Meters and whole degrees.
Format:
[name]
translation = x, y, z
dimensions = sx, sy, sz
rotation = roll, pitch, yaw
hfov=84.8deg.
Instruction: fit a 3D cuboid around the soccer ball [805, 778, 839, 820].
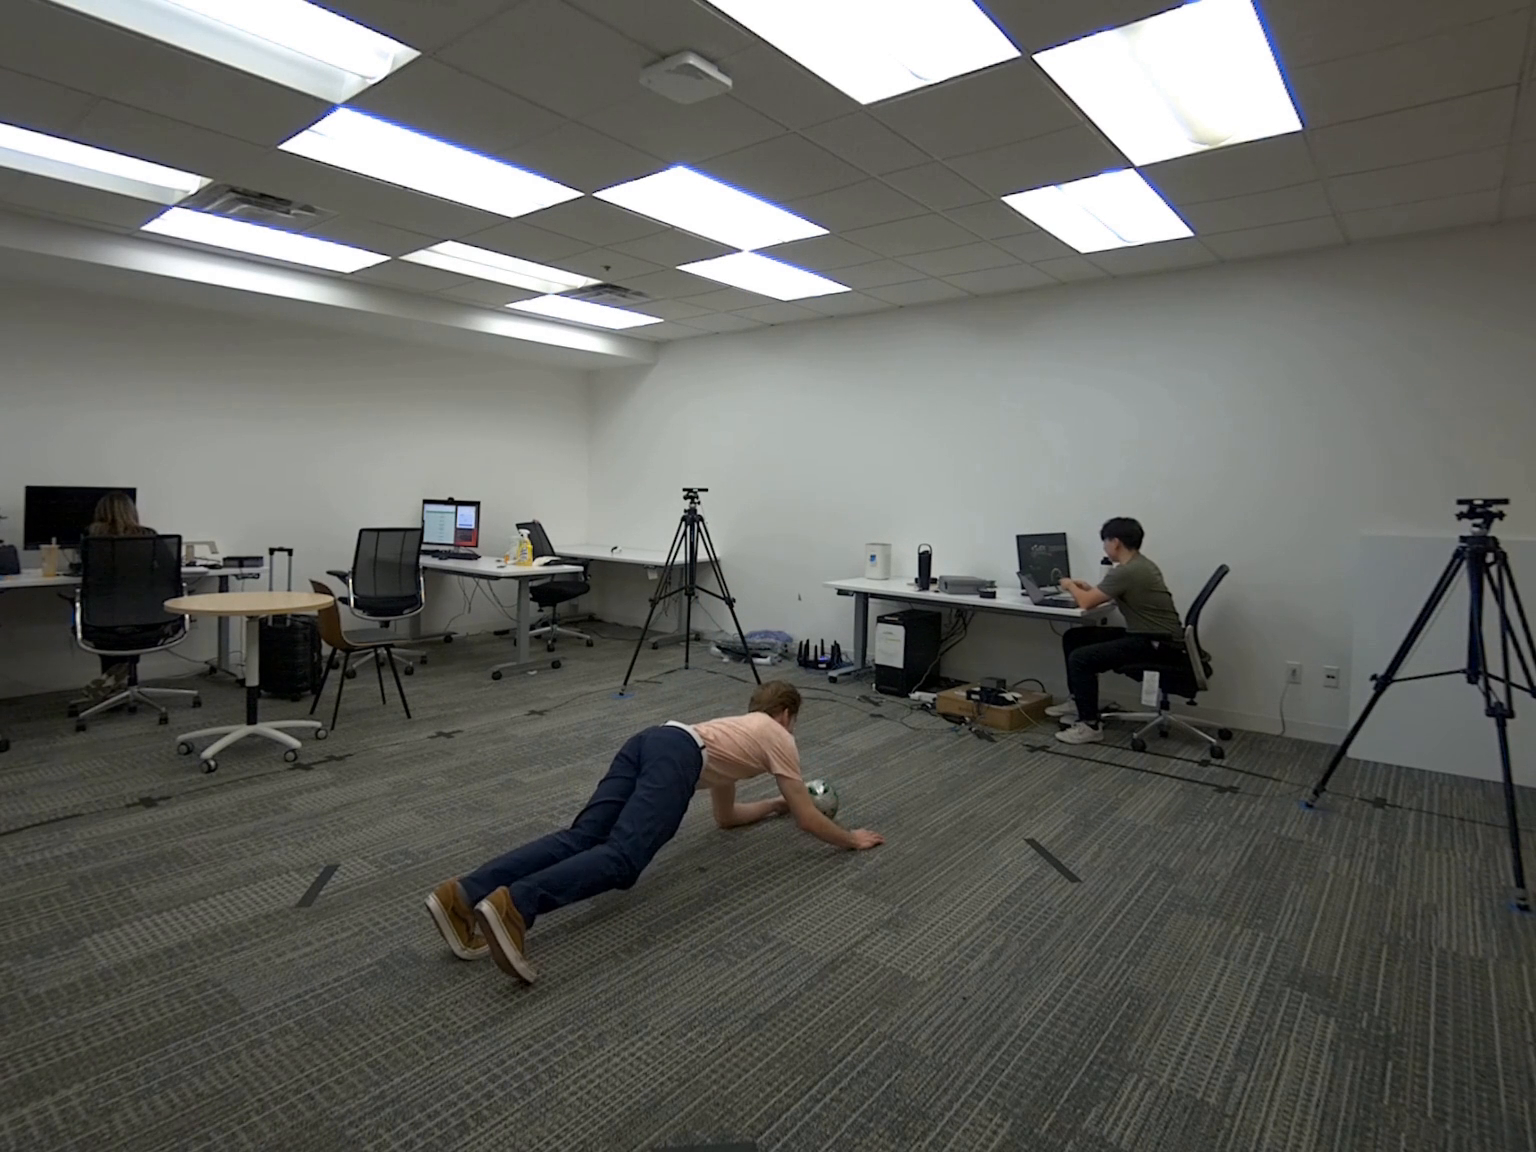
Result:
[soccer ball]
translation = 0.197, 0.943, 3.551
dimensions = 0.187, 0.187, 0.188
rotation = 1, 4, -2
